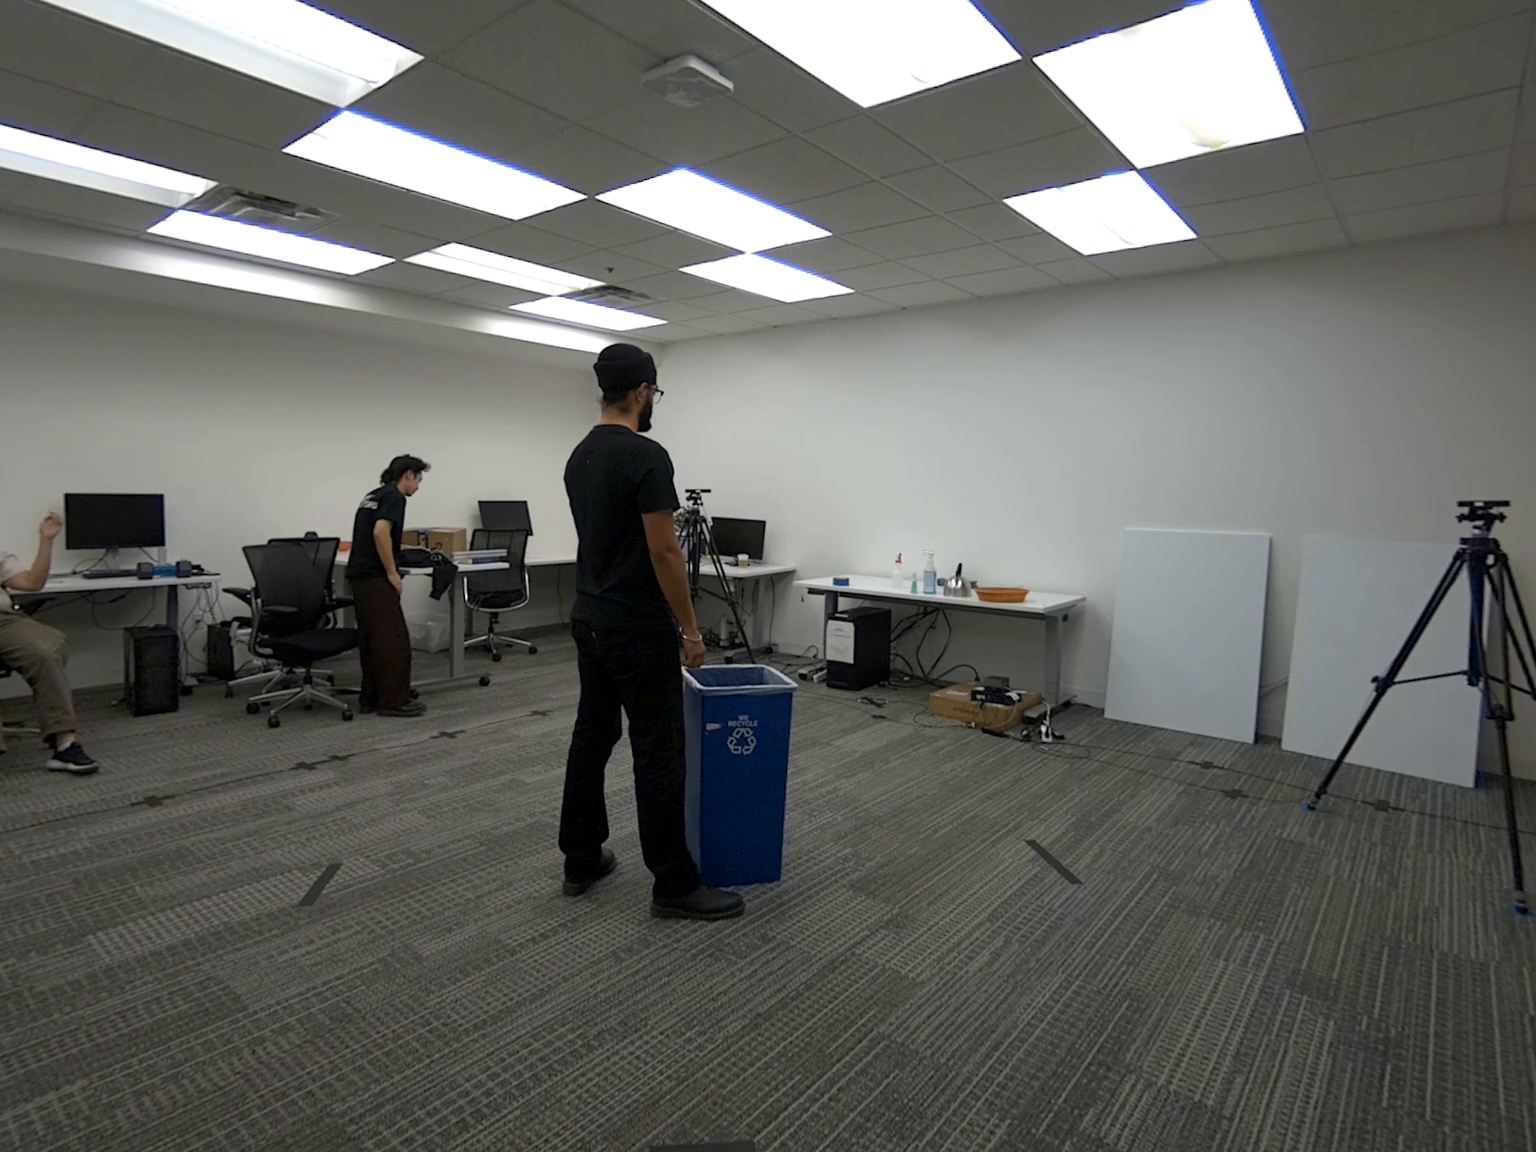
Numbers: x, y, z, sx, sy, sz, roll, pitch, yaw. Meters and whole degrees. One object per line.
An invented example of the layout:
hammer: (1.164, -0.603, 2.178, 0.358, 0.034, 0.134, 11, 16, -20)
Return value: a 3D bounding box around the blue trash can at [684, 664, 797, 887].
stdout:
blue trash can: (-0.144, 0.714, 3.116, 0.367, 0.712, 0.386, 1, 3, -17)
